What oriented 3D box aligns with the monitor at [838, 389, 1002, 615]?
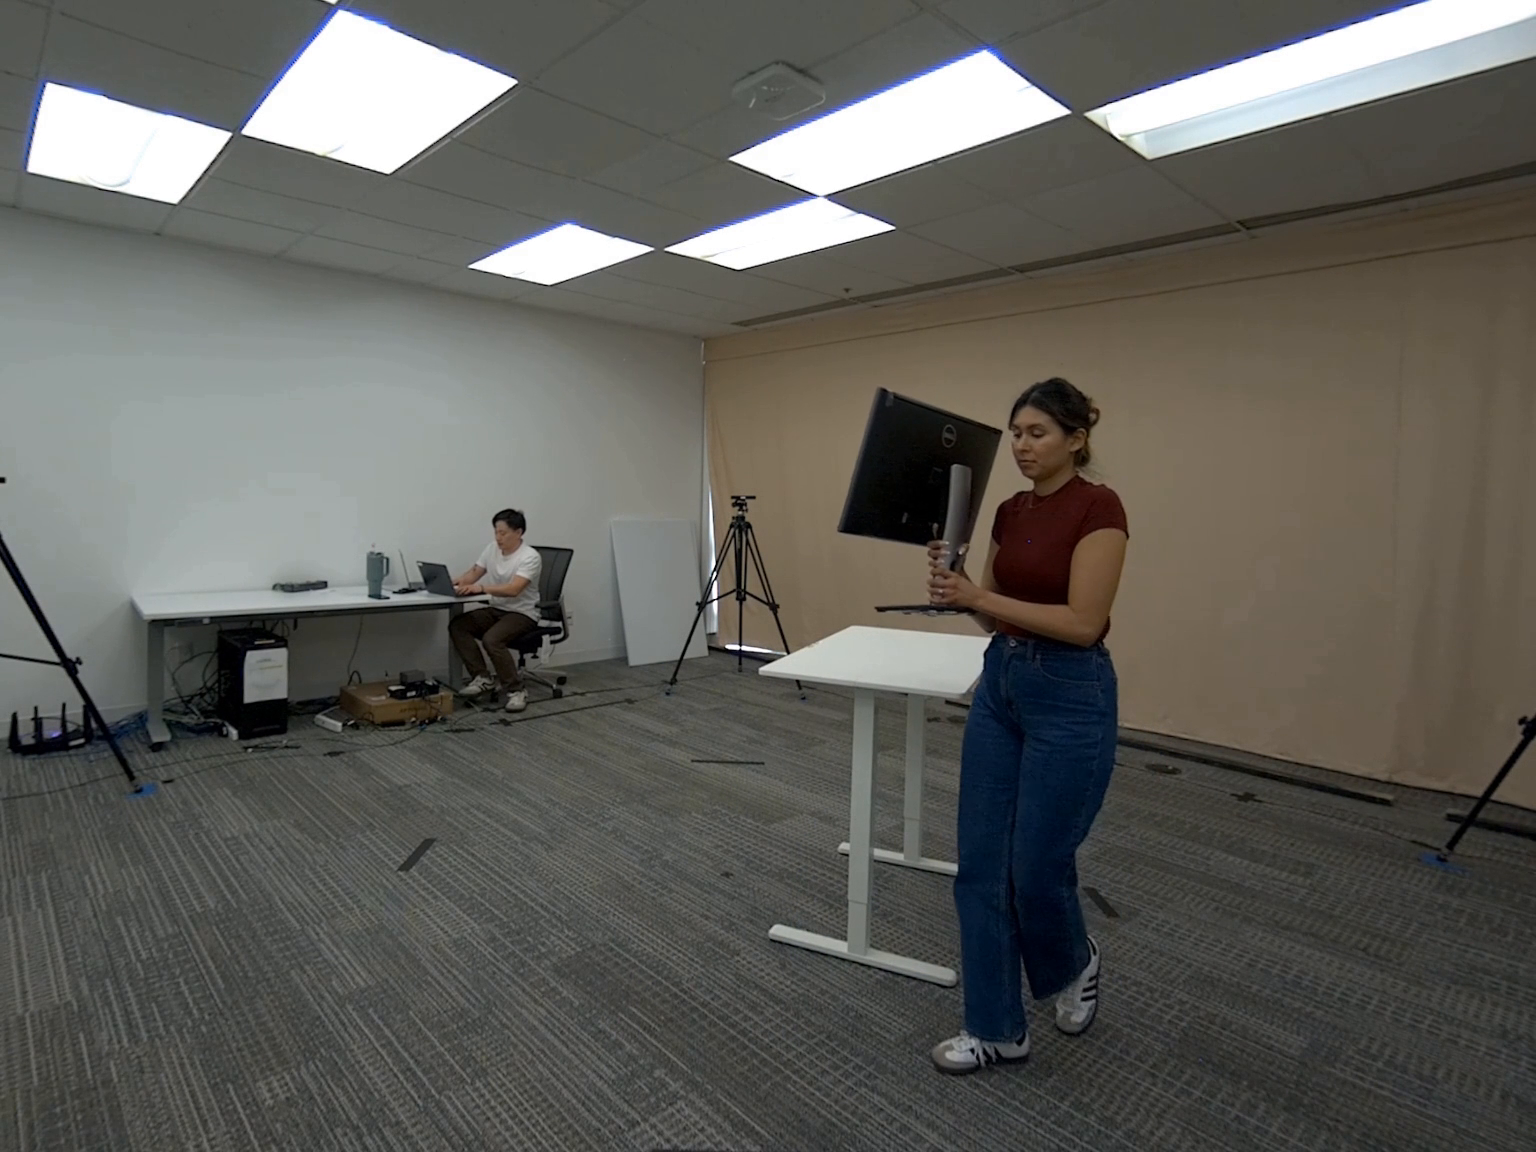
[{"bbox_3d":[0.418,-0.159,2.130,0.192,0.523,0.525,2,-4,45],"label":"monitor"}]
